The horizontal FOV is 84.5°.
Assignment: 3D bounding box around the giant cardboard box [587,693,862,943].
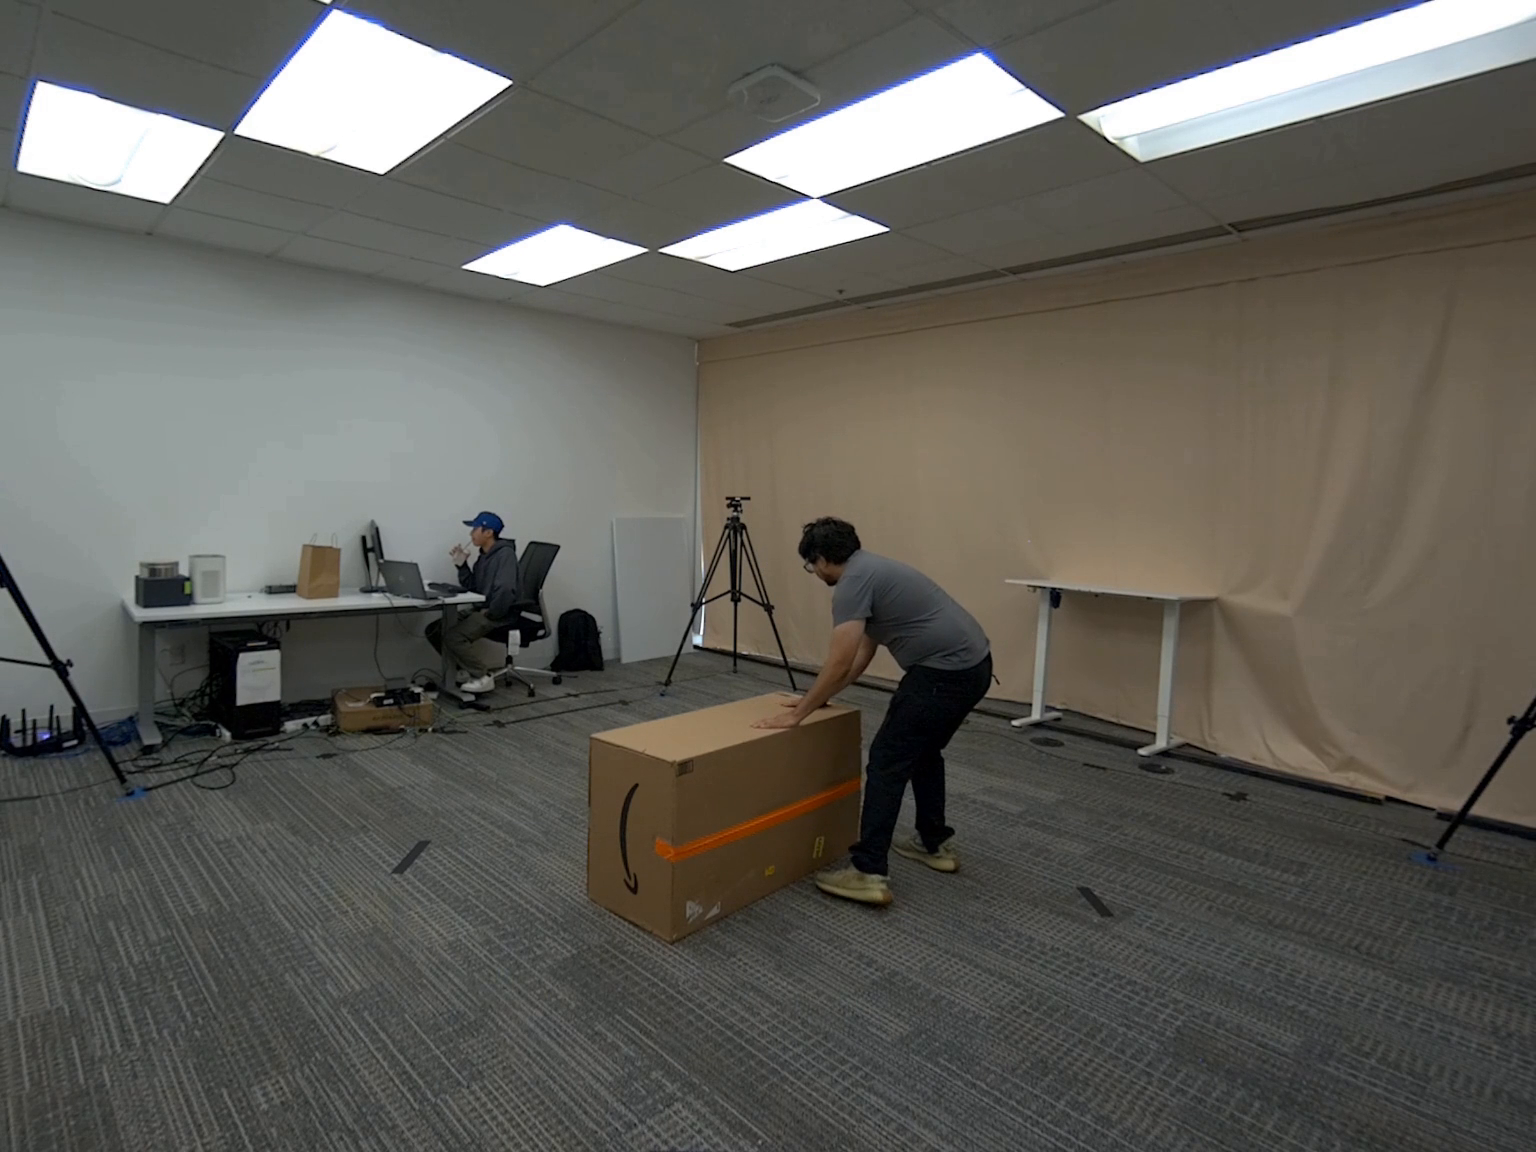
[{"bbox_3d":[-0.130,0.818,3.108,0.437,0.576,1.003,5,6,40],"label":"giant cardboard box"}]
